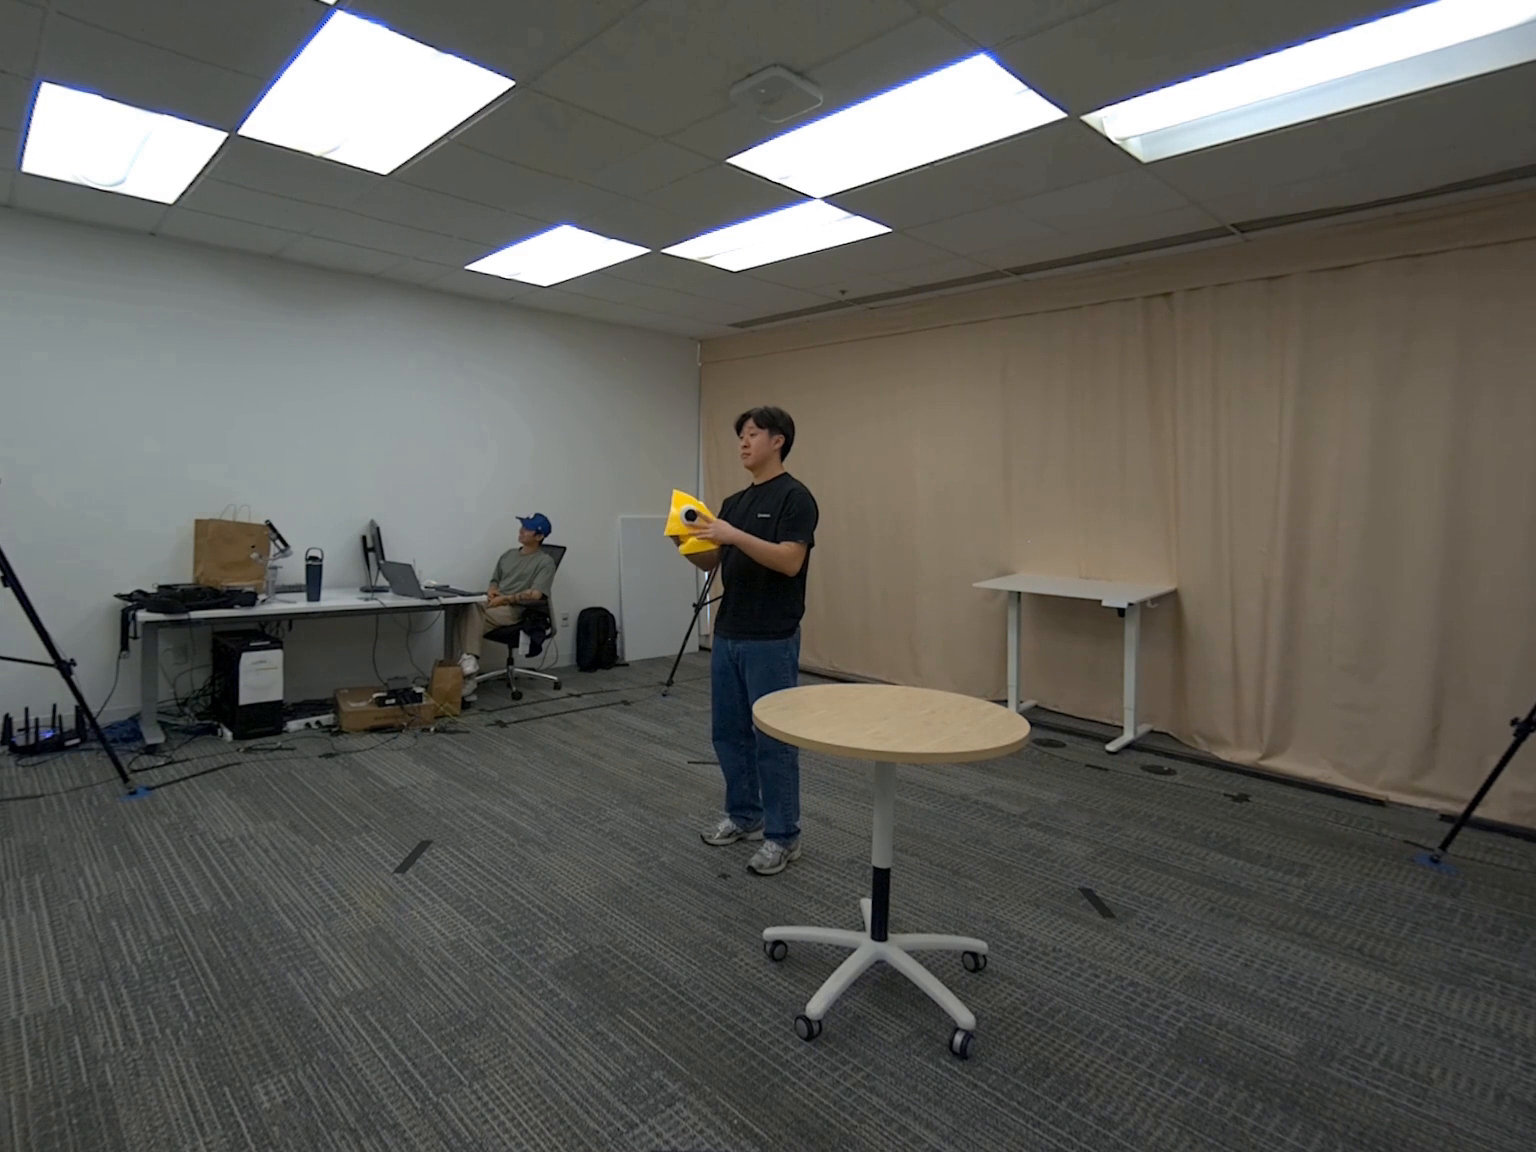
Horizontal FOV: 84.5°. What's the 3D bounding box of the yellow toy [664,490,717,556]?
[{"bbox_3d":[-0.269,-0.213,3.087,0.195,0.229,0.203,-9,8,19],"label":"yellow toy"}]
